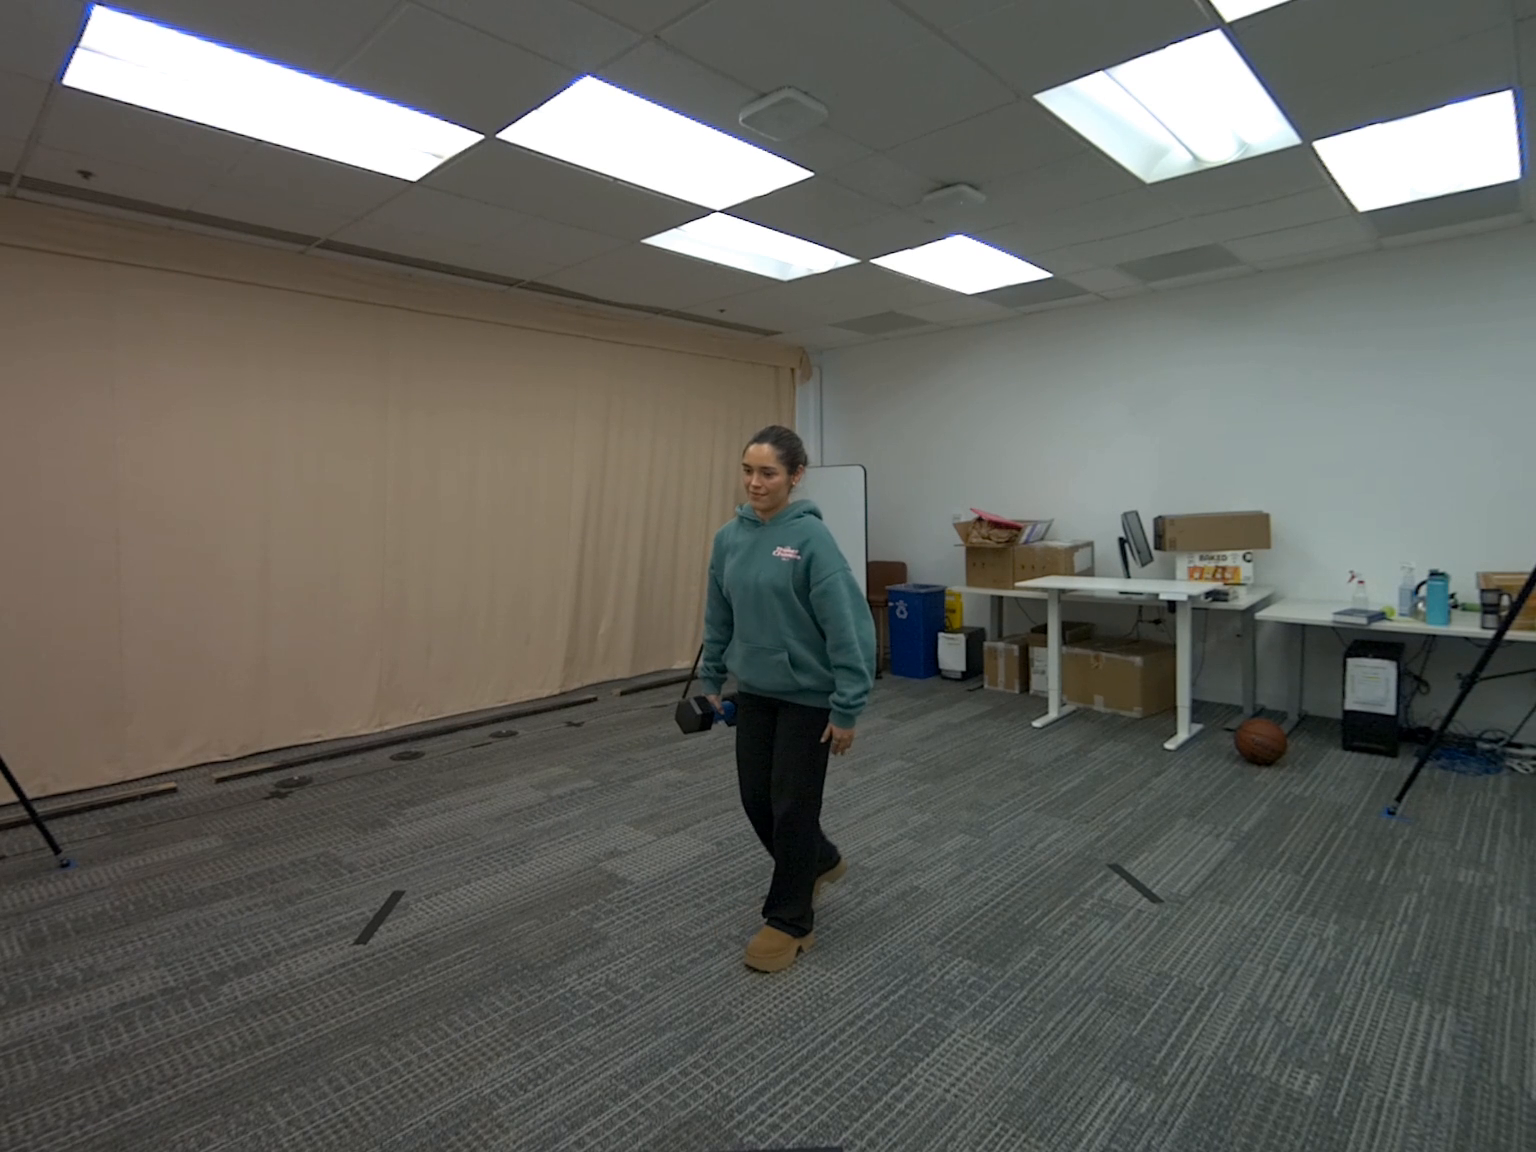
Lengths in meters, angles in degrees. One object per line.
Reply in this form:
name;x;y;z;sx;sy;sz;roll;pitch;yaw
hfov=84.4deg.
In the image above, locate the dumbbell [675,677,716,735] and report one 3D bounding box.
dumbbell;-0.158;0.441;2.710;0.284;0.109;0.127;3;41;-50
